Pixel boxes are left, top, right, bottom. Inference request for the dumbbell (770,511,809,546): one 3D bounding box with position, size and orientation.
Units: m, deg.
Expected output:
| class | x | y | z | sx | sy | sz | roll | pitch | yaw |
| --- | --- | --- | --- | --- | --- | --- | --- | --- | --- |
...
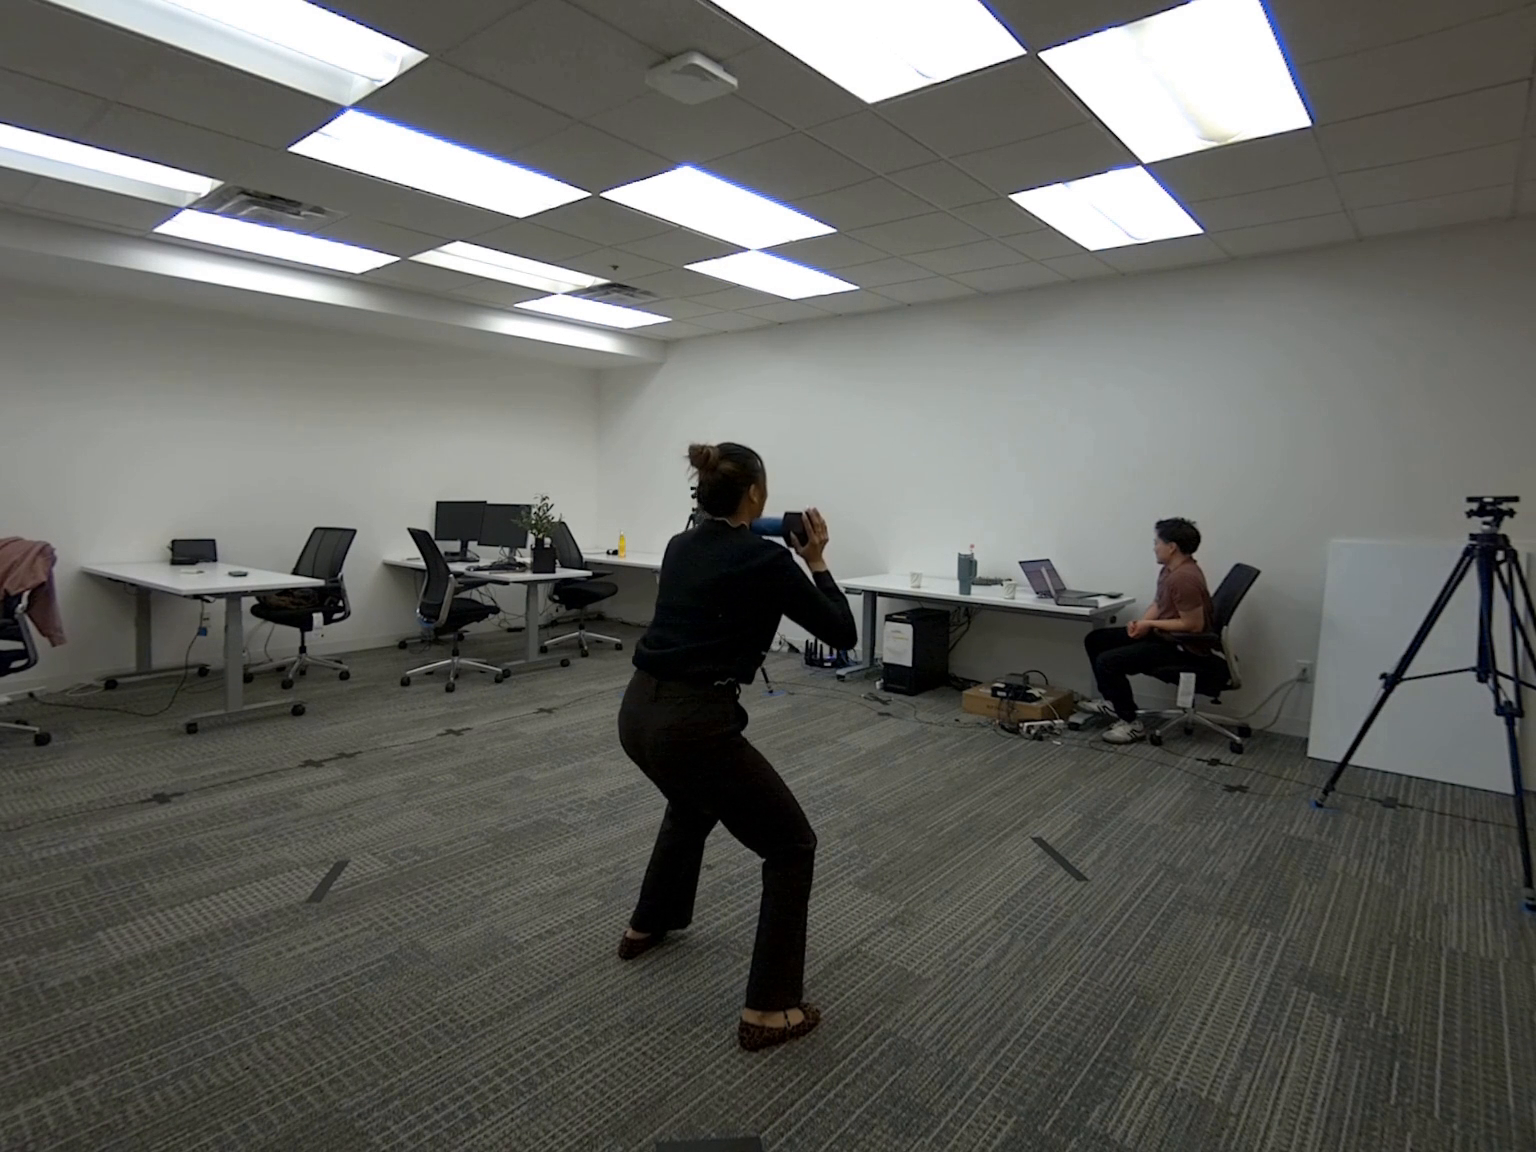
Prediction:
| class | x | y | z | sx | sy | sz | roll | pitch | yaw |
| --- | --- | --- | --- | --- | --- | --- | --- | --- | --- |
| dumbbell | 0.003 | -0.142 | 2.486 | 0.303 | 0.118 | 0.109 | 4 | 45 | 42 |
